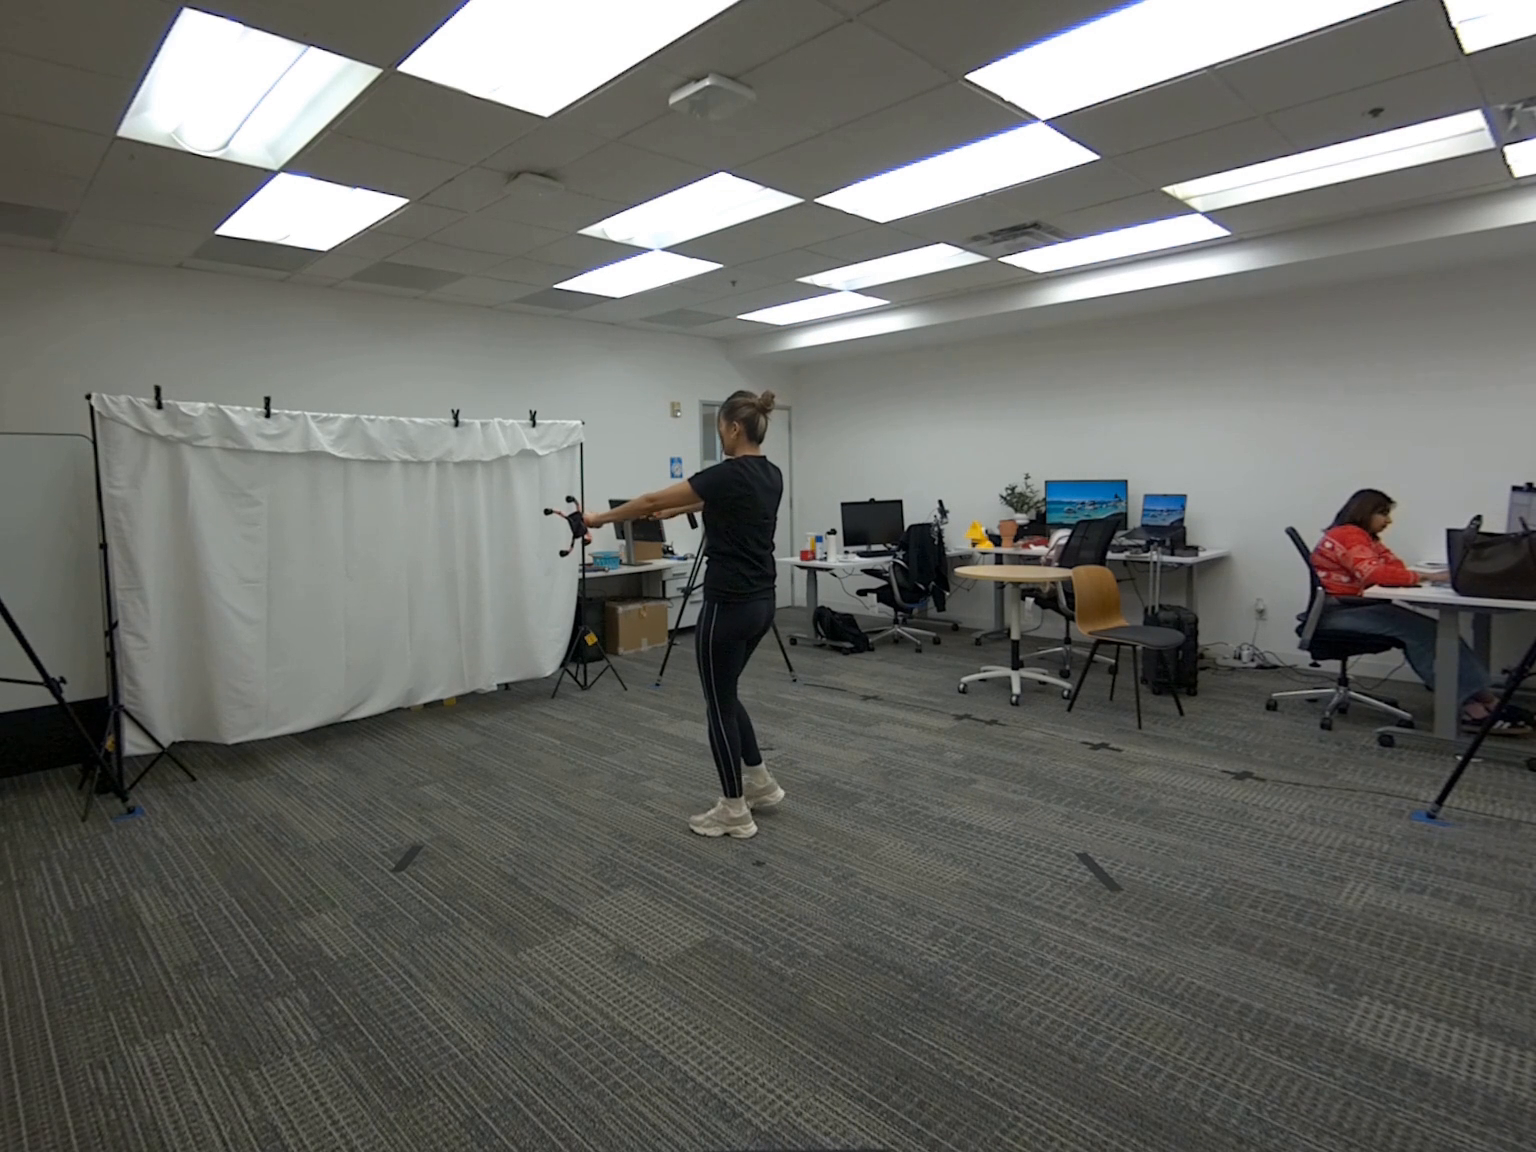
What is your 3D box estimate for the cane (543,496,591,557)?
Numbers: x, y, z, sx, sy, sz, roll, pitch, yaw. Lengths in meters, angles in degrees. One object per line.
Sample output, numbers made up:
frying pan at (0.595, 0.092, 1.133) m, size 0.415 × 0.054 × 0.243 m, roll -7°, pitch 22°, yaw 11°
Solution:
cane at (-0.582, -0.259, 3.681) m, size 0.154 × 0.207 × 0.891 m, roll -20°, pitch -1°, yaw 28°
